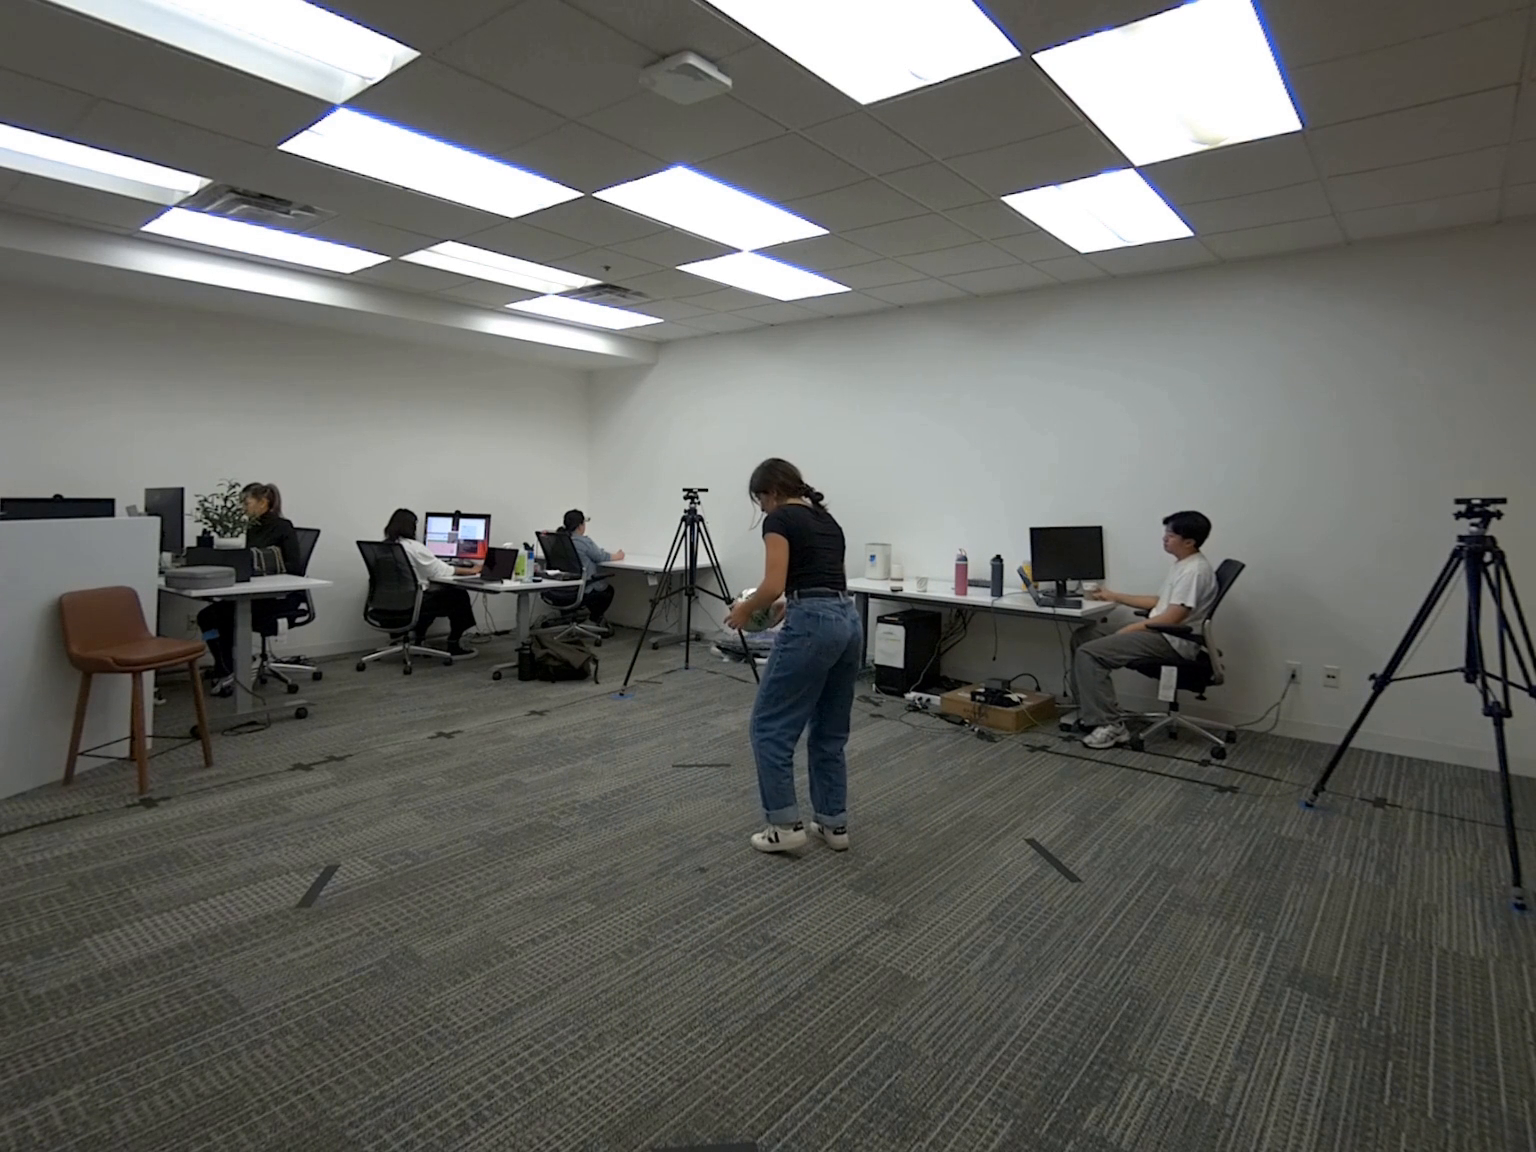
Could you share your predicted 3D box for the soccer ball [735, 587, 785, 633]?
[{"bbox_3d":[-0.044,0.182,3.552,0.187,0.187,0.188,1,4,-2],"label":"soccer ball"}]
